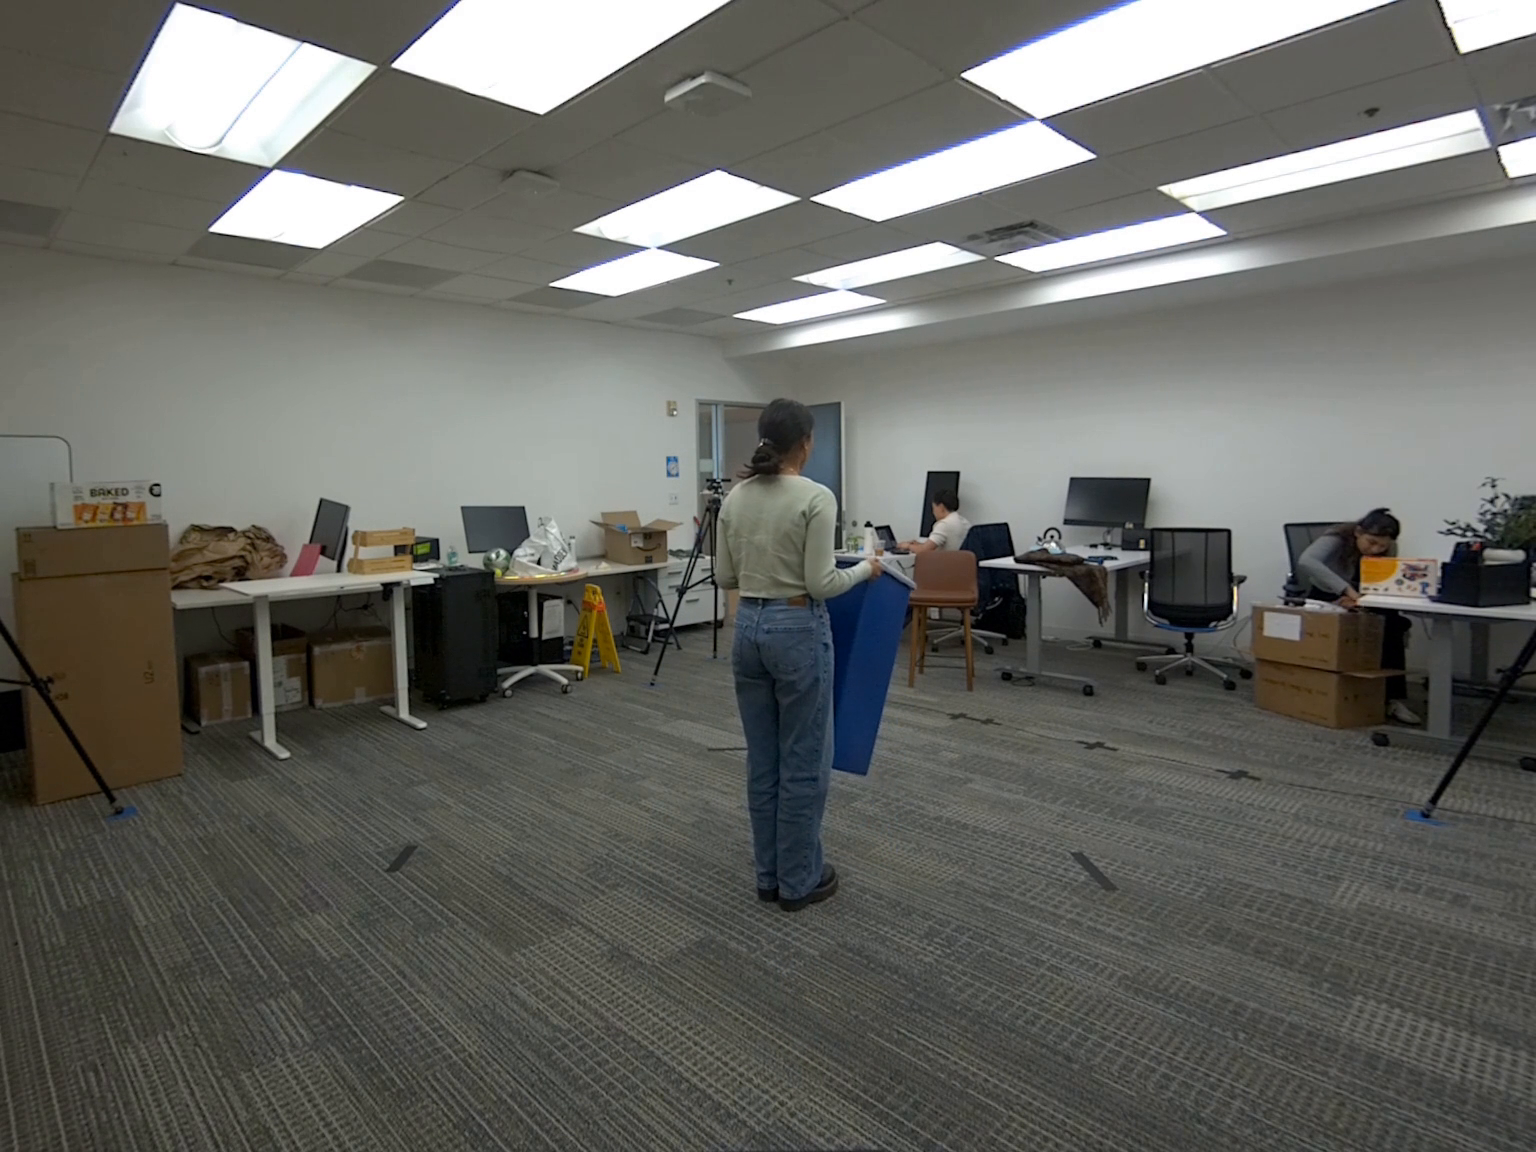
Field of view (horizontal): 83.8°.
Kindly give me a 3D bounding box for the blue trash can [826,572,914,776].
[{"bbox_3d":[0.240,0.315,3.068,0.389,0.719,0.360,5,-14,36],"label":"blue trash can"}]
